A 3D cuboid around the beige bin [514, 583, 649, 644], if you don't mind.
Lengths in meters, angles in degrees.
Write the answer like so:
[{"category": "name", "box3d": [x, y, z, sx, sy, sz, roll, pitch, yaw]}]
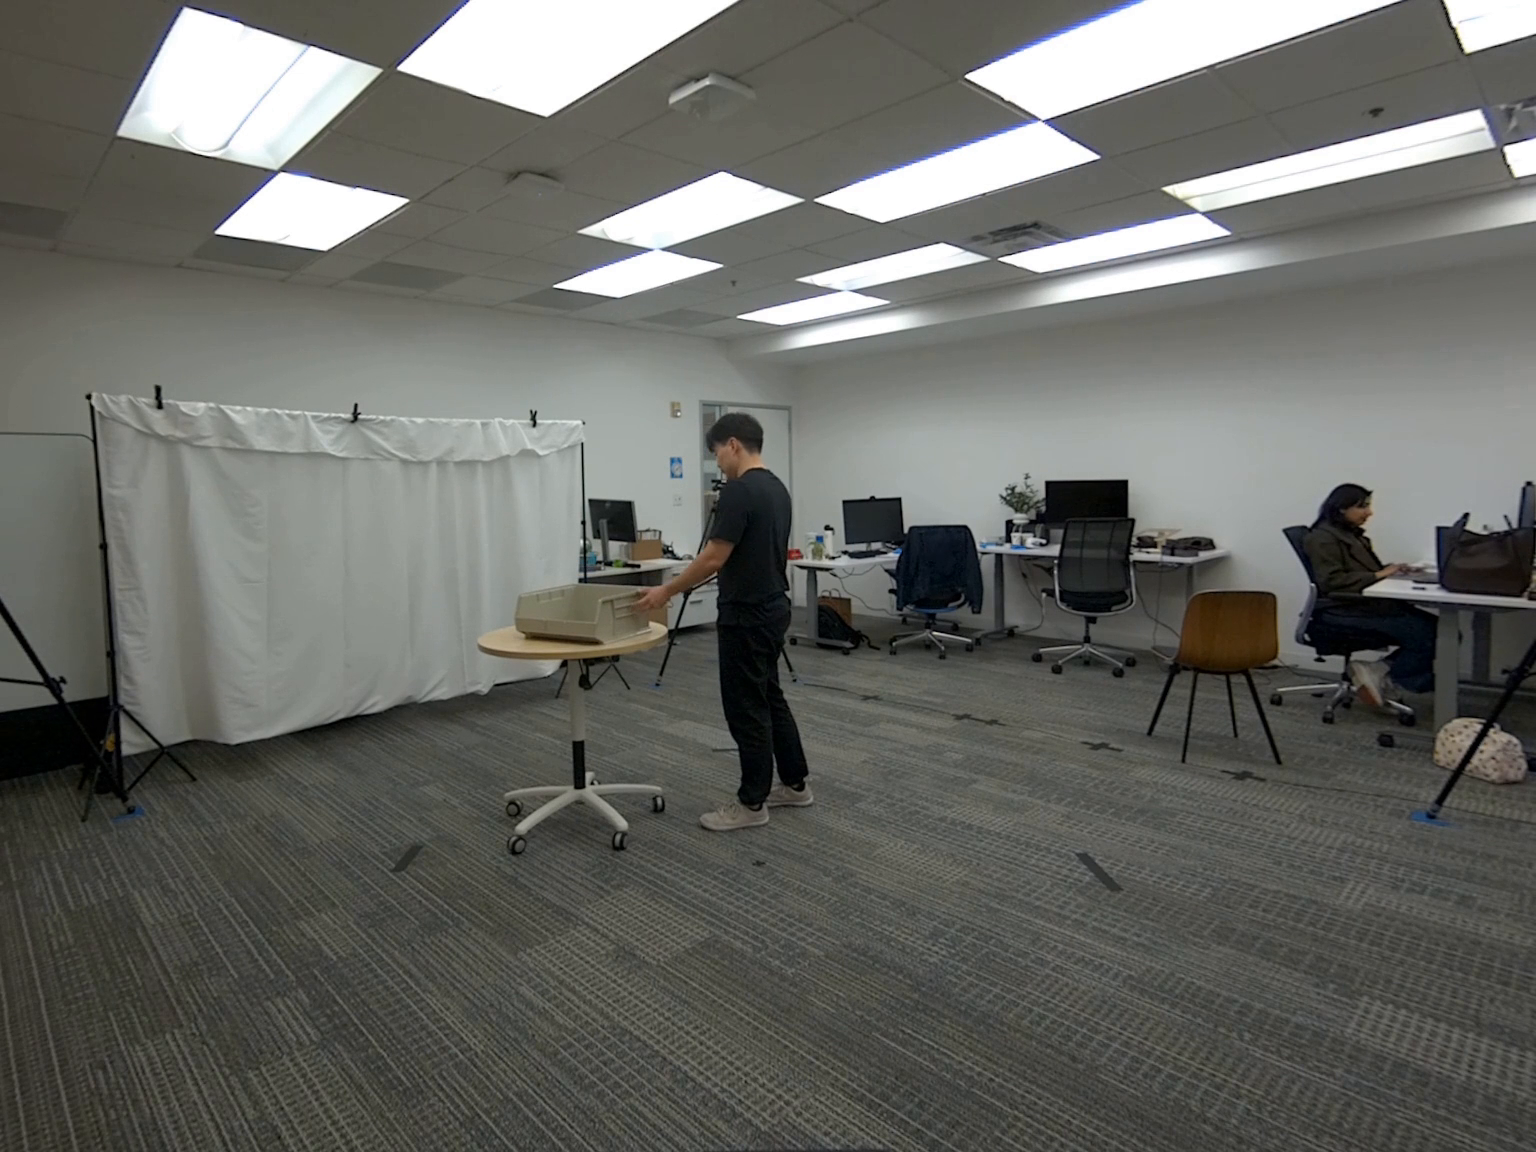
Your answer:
[{"category": "beige bin", "box3d": [-0.739, 0.149, 3.452, 0.433, 0.188, 0.369, 1, 5, 29]}]
